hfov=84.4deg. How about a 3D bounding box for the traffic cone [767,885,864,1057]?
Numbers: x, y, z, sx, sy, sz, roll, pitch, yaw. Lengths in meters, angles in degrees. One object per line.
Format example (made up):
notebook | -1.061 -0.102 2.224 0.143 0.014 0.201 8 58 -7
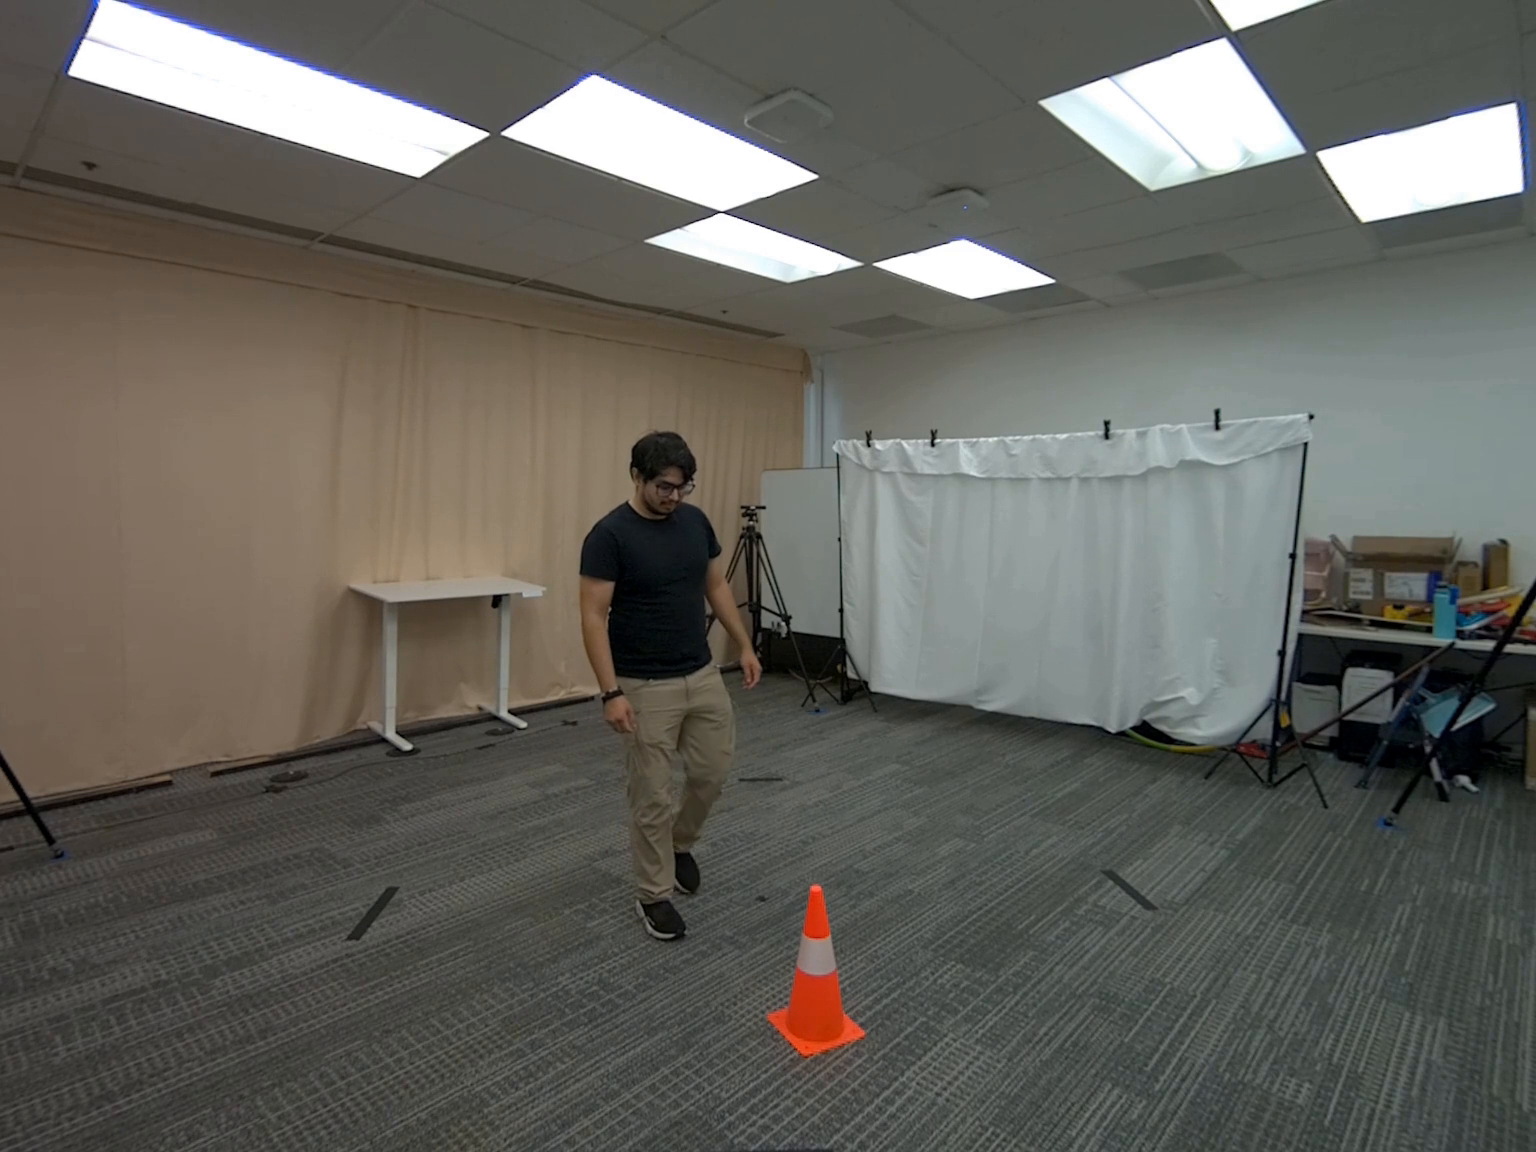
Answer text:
traffic cone | 0.134 1.022 2.241 0.198 0.383 0.211 0 2 -31
